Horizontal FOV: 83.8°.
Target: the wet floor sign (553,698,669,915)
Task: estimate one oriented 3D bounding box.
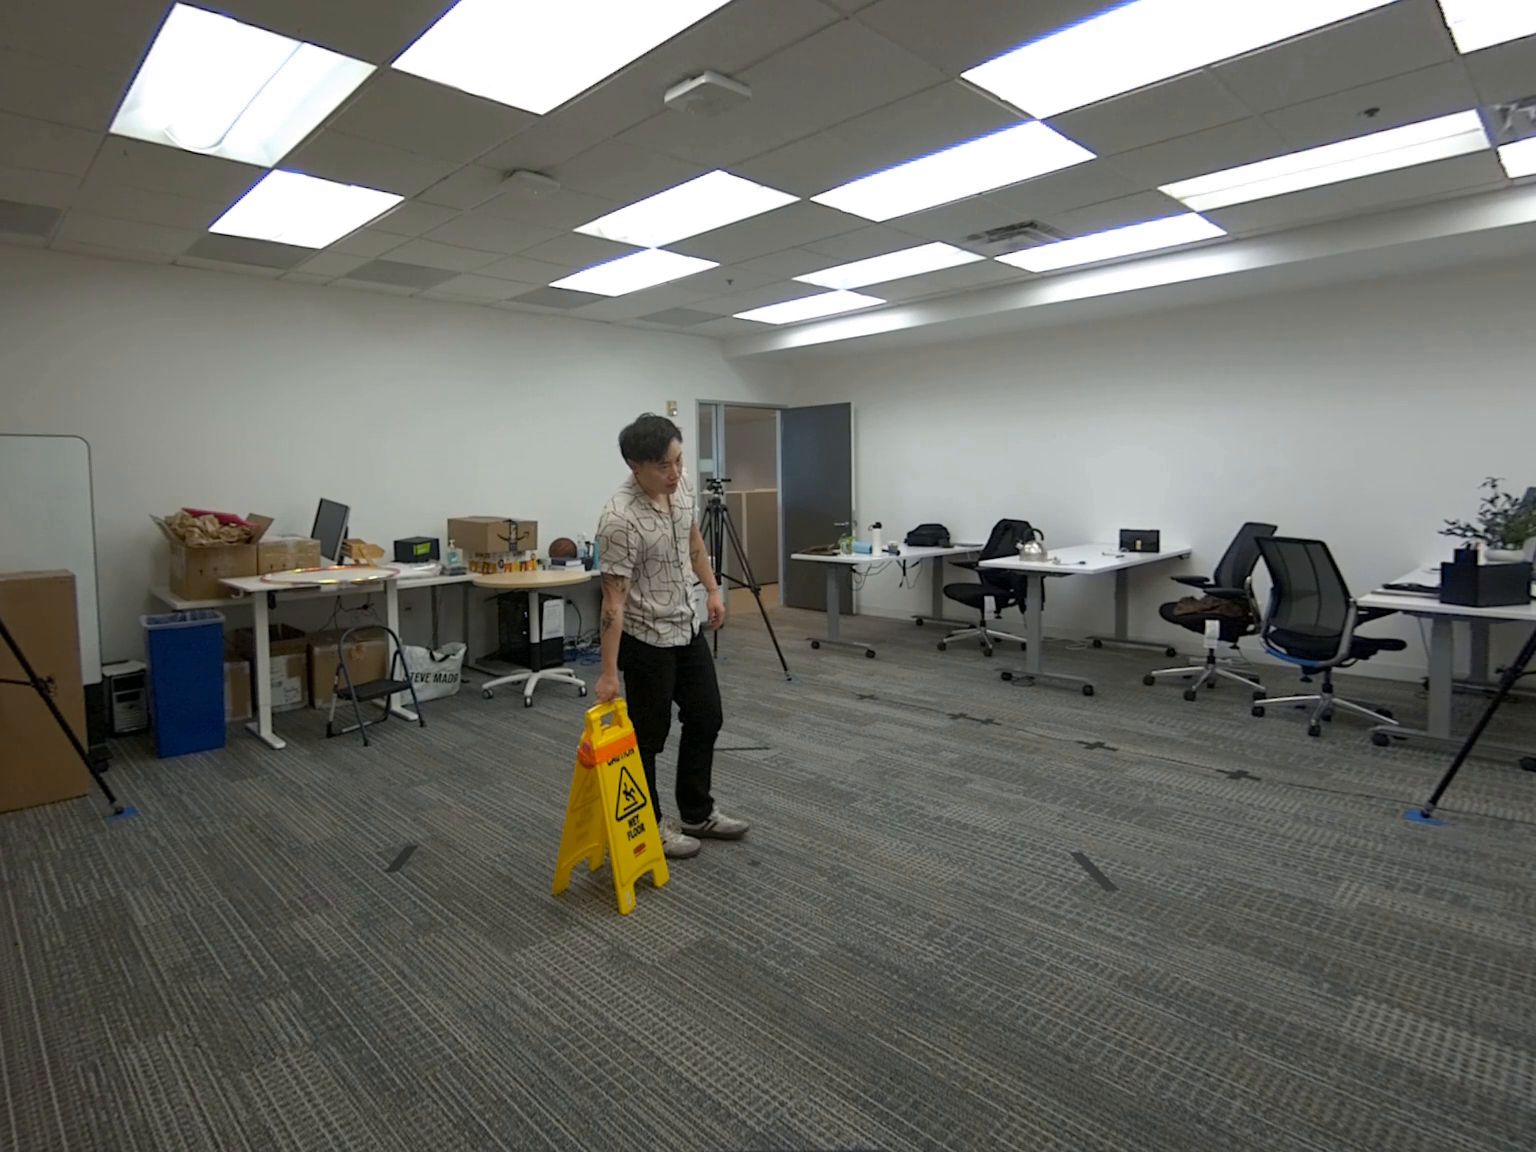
[{"bbox_3d":[-0.542,0.754,2.912,0.297,0.643,0.277,2,6,27],"label":"wet floor sign"}]
